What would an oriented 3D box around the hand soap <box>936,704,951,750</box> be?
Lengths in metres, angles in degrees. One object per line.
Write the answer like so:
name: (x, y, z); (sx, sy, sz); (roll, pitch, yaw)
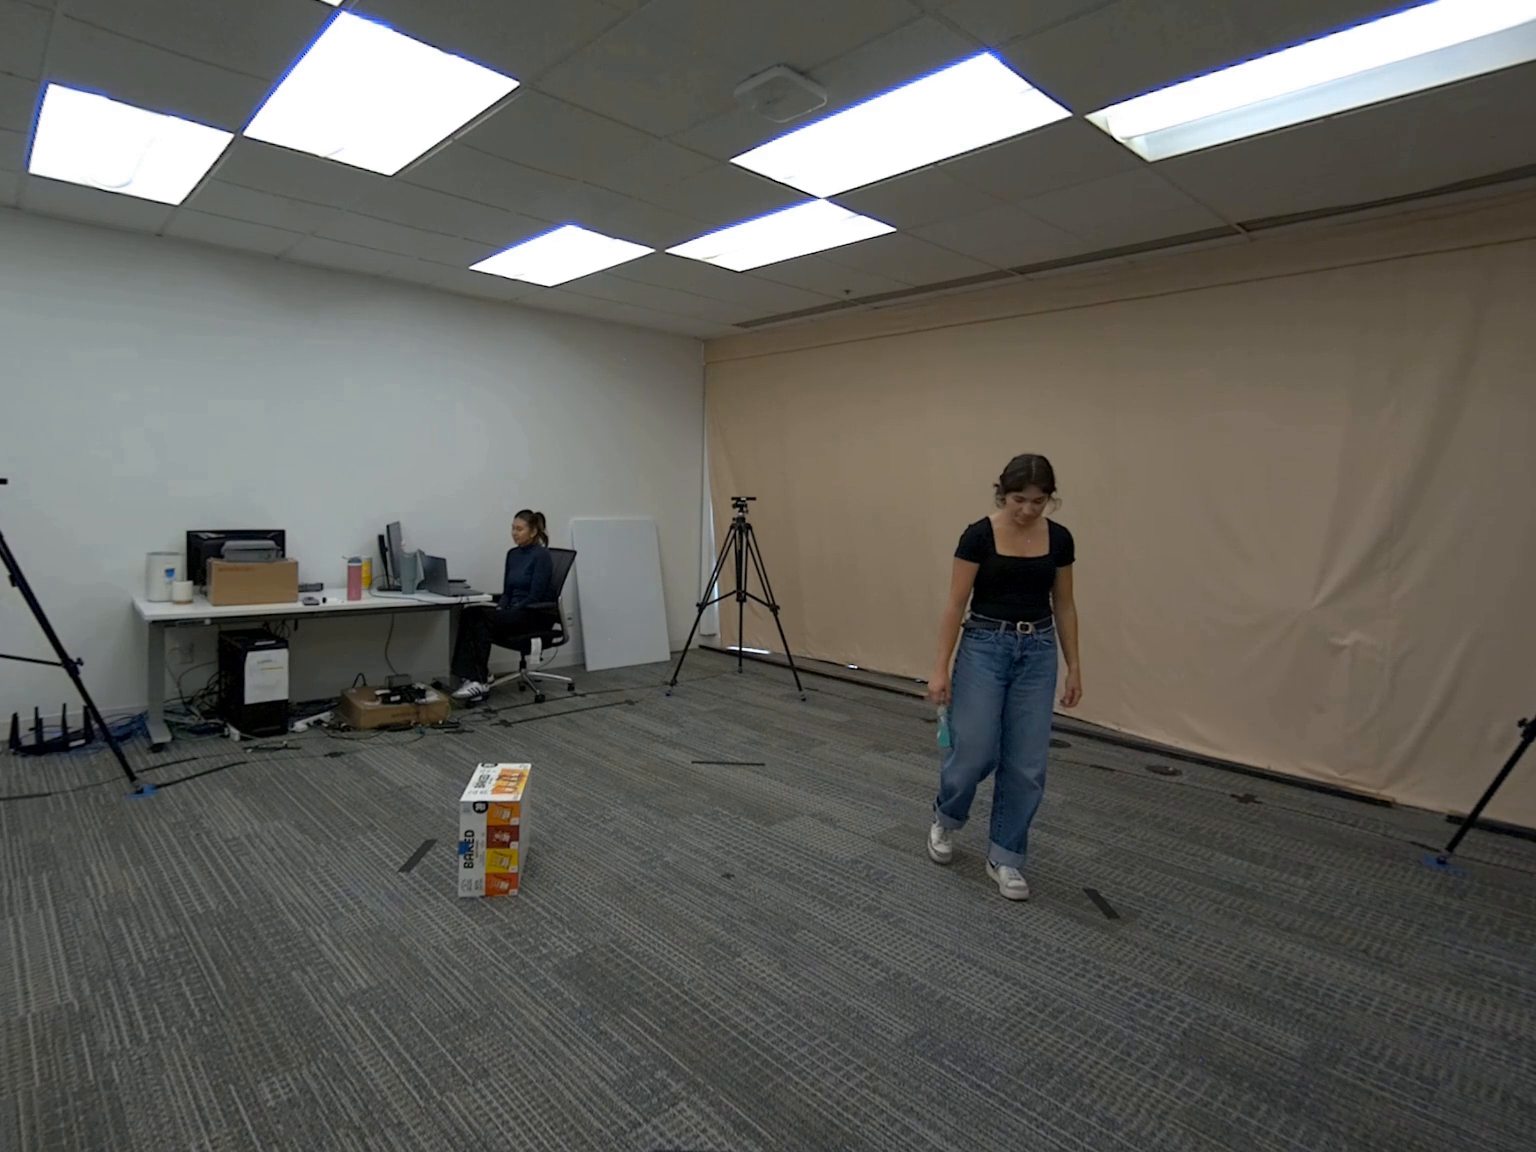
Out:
hand soap: (0.621, 0.523, 2.991); (0.043, 0.168, 0.084); (1, 0, 3)
